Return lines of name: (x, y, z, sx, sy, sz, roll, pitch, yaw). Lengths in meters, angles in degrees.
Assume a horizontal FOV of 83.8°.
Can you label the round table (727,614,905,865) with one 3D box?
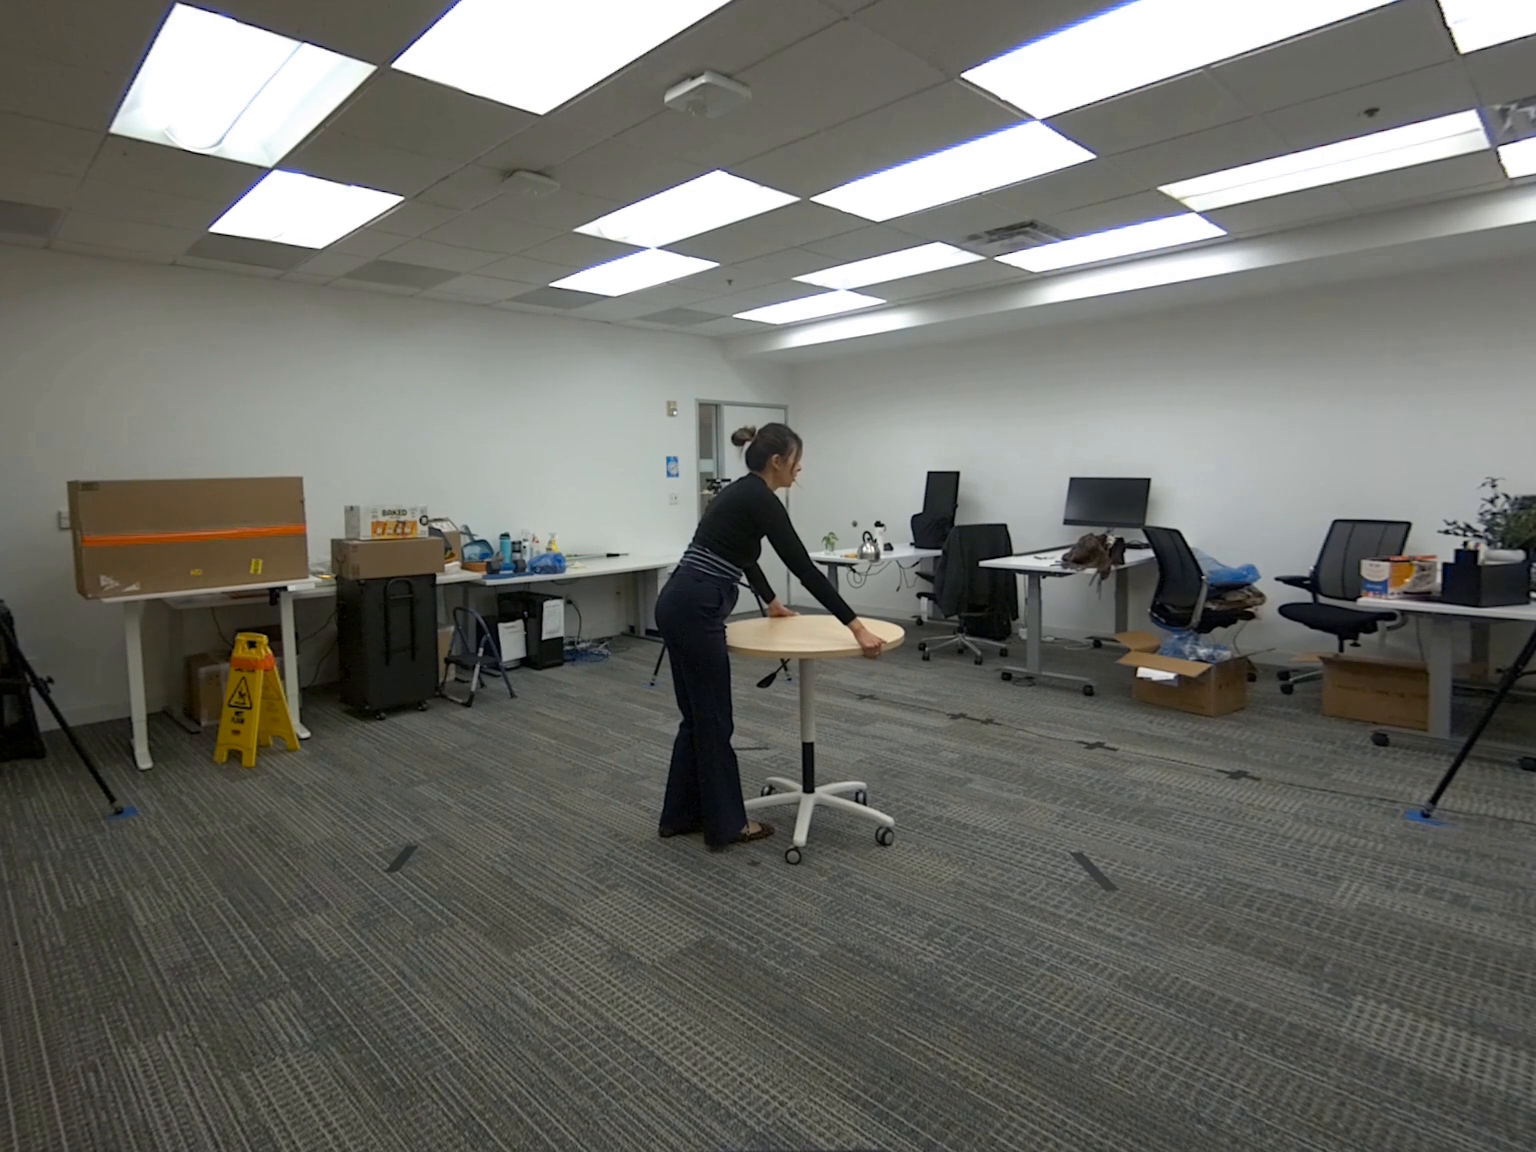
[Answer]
round table: (0.162, 0.612, 3.407, 0.763, 0.791, 0.768, -1, 5, -2)
